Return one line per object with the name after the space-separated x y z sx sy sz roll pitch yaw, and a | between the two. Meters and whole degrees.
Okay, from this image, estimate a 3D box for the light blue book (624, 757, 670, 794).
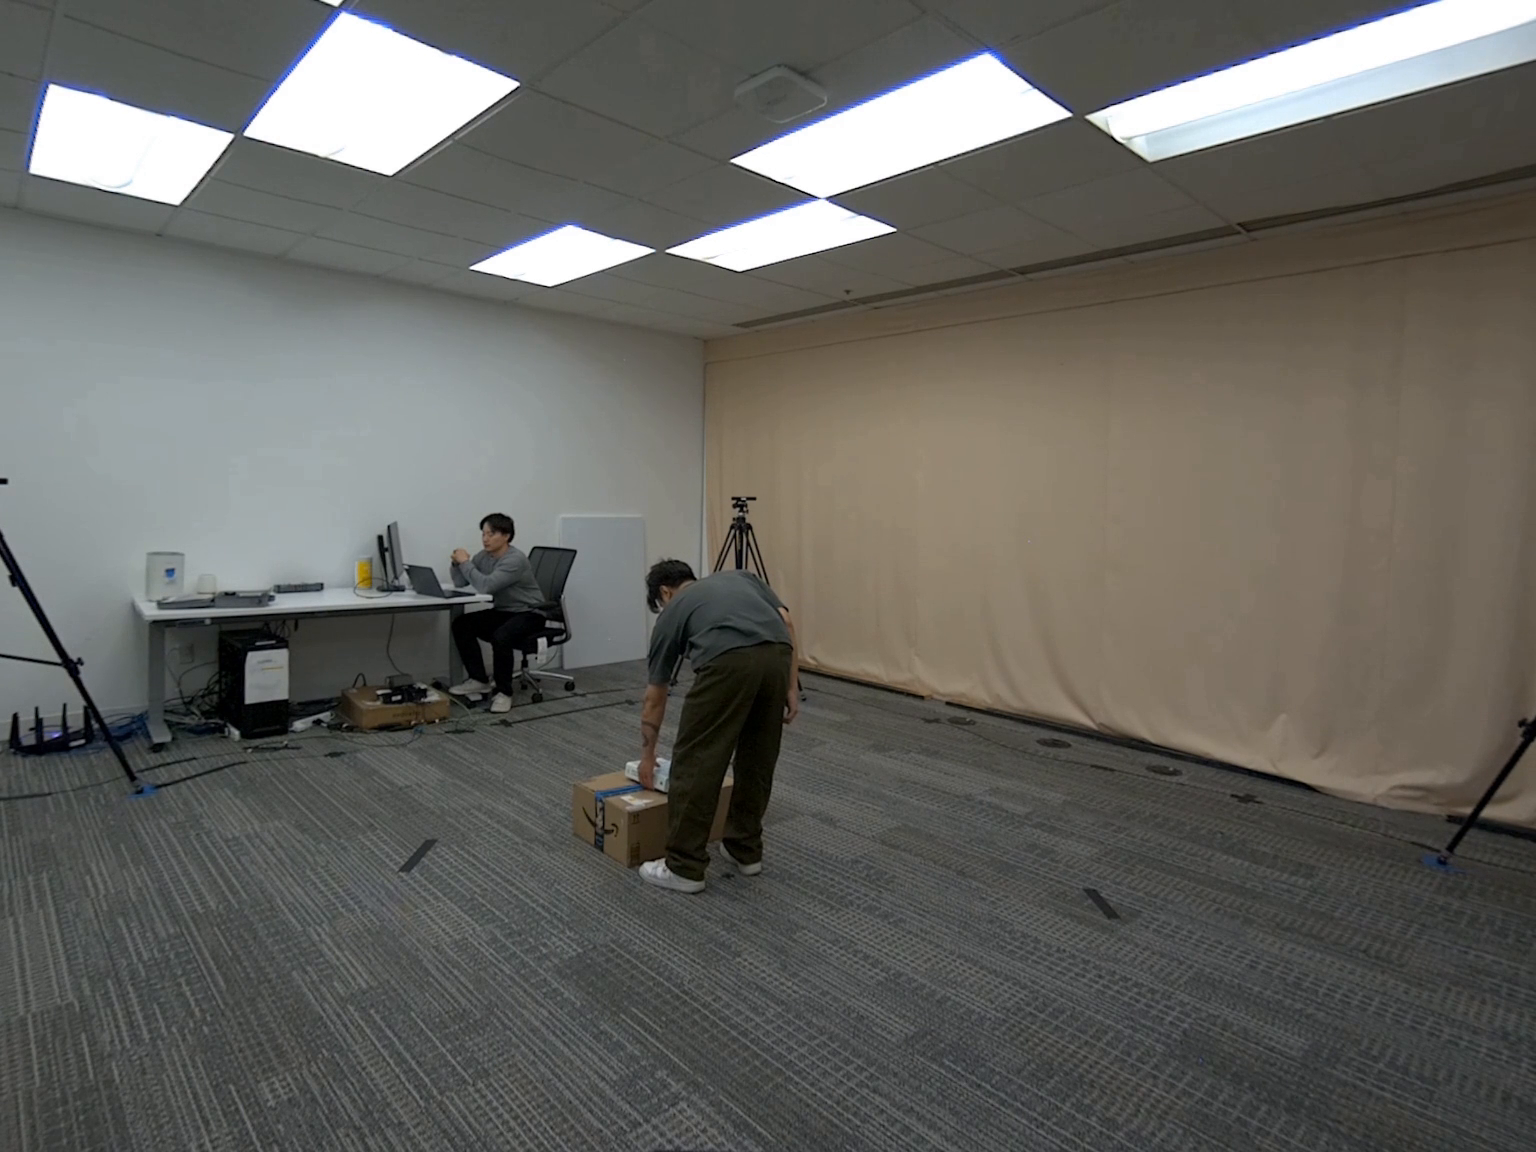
-0.437 0.818 3.486 0.268 0.059 0.186 6 2 45 | light blue book
